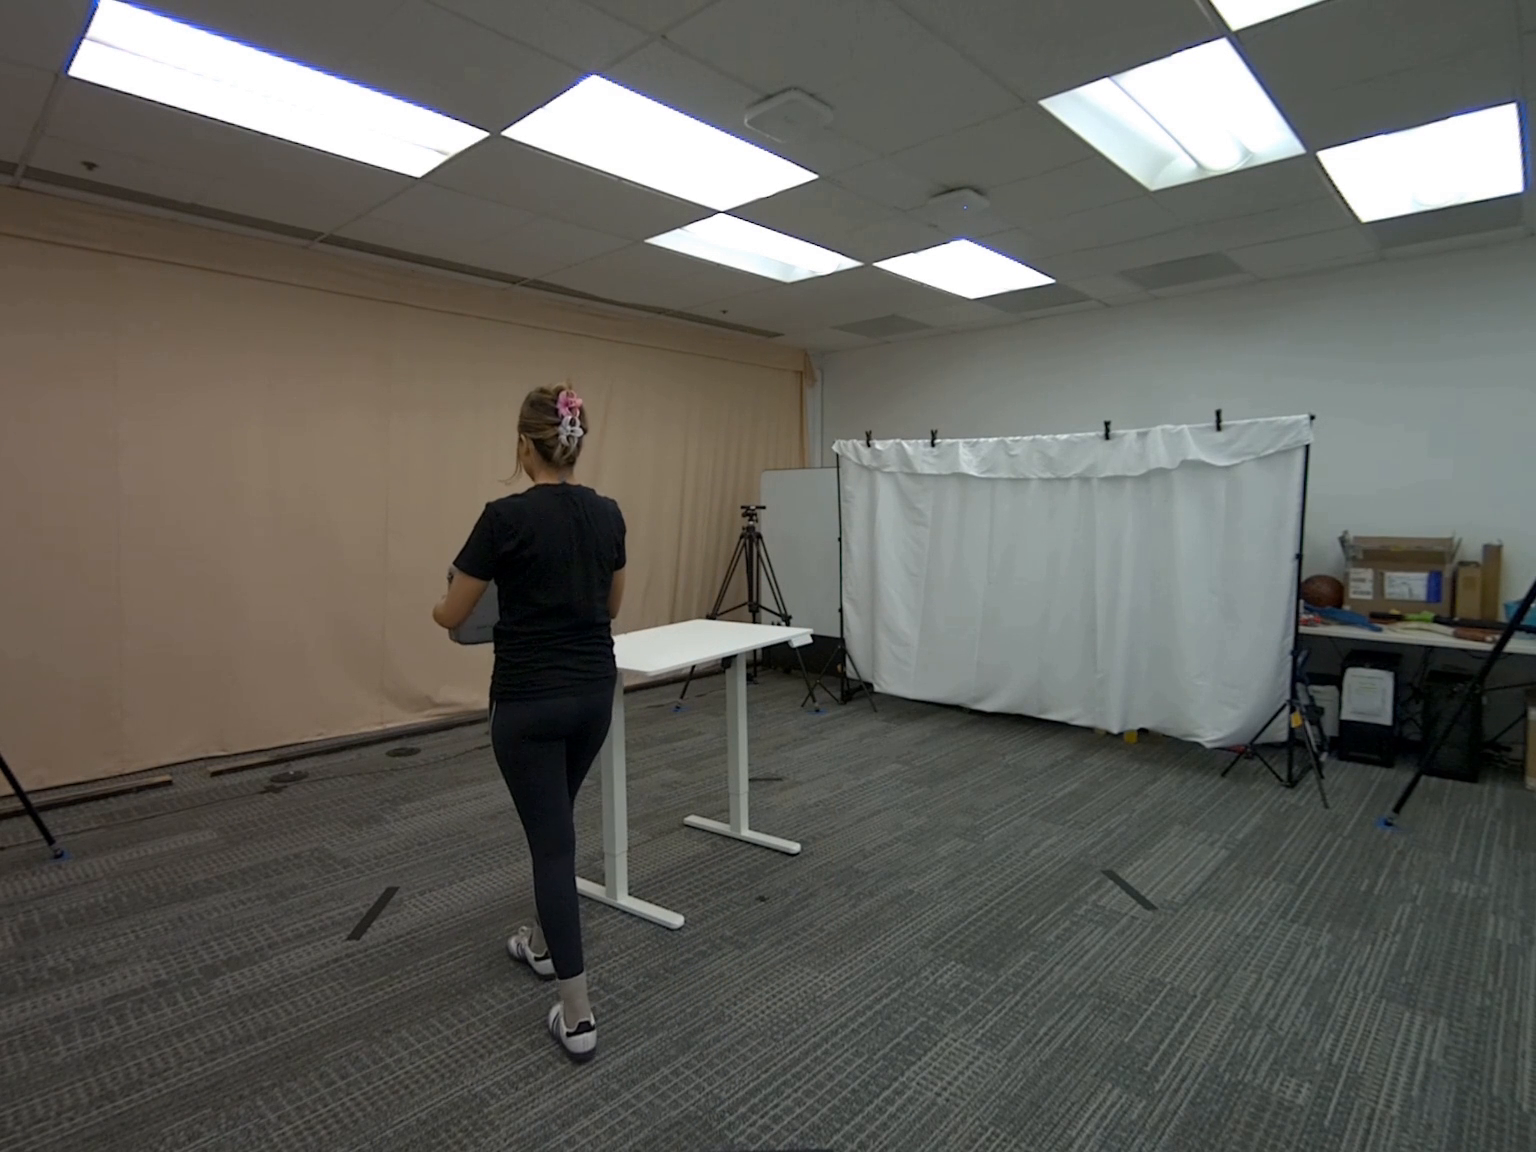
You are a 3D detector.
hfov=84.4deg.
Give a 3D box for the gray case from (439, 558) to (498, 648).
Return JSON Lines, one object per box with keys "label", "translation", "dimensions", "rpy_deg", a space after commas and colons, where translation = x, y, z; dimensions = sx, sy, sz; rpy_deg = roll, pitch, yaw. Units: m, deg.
{"label": "gray case", "translation": [-0.876, 0.073, 2.625], "dimensions": [0.108, 0.260, 0.249], "rpy_deg": [1, 1, 40]}
